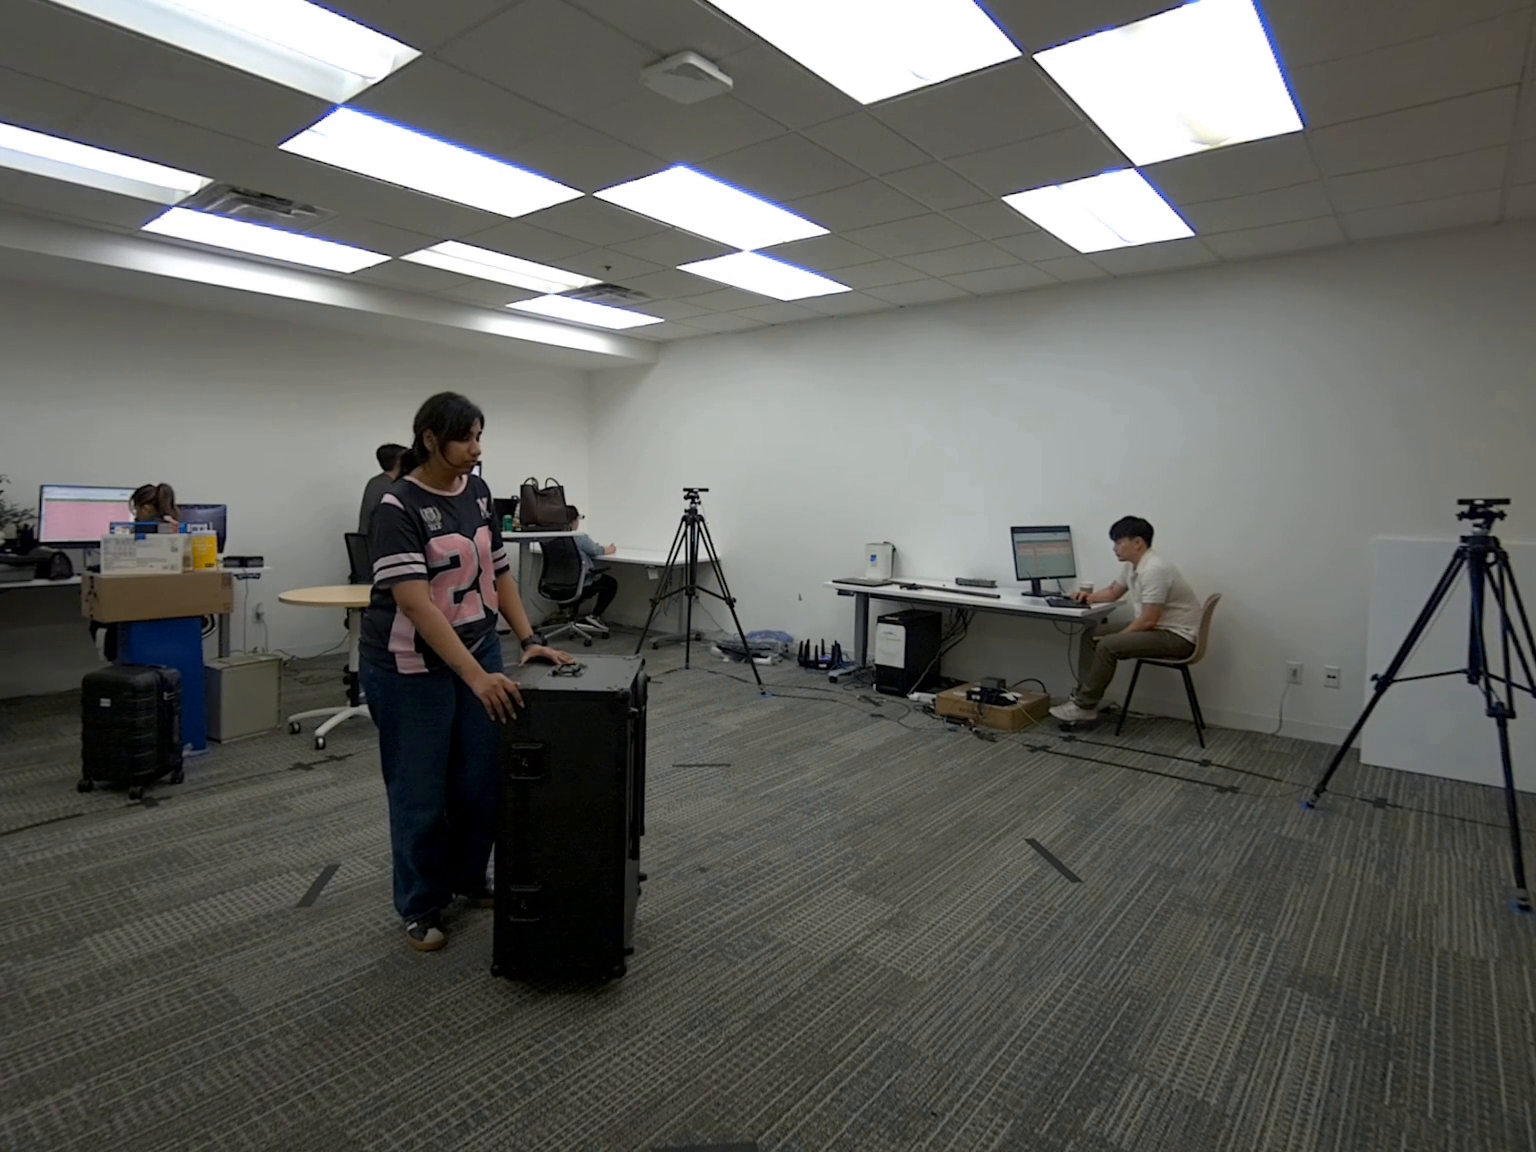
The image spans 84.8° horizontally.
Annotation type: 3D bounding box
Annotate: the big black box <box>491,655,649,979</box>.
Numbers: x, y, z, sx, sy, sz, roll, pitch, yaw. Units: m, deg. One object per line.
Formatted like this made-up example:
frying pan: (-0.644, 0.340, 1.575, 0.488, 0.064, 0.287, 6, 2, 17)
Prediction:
big black box: (-0.576, 0.702, 2.508, 0.384, 0.866, 0.526, 2, 3, -3)
